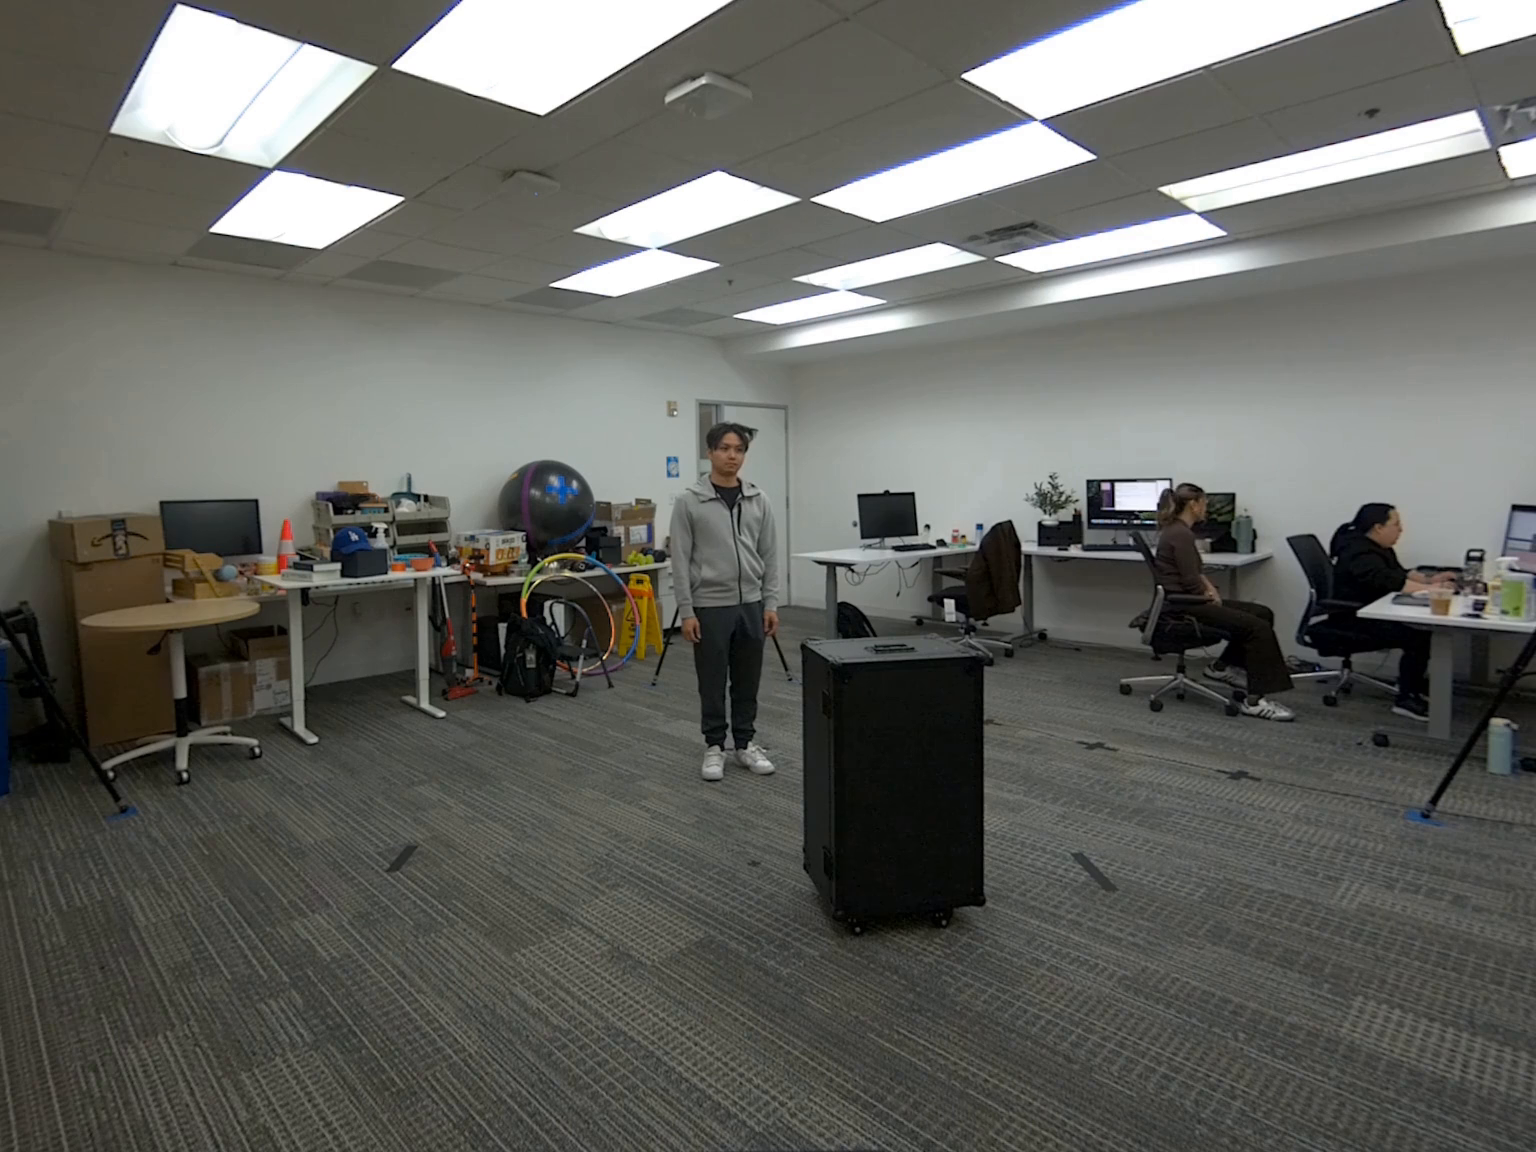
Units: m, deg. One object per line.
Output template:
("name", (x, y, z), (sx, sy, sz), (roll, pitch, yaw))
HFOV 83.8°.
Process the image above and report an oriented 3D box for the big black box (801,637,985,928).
("big black box", (0.398, 0.592, 2.749), (0.516, 0.858, 0.402), (-2, 4, -12))
